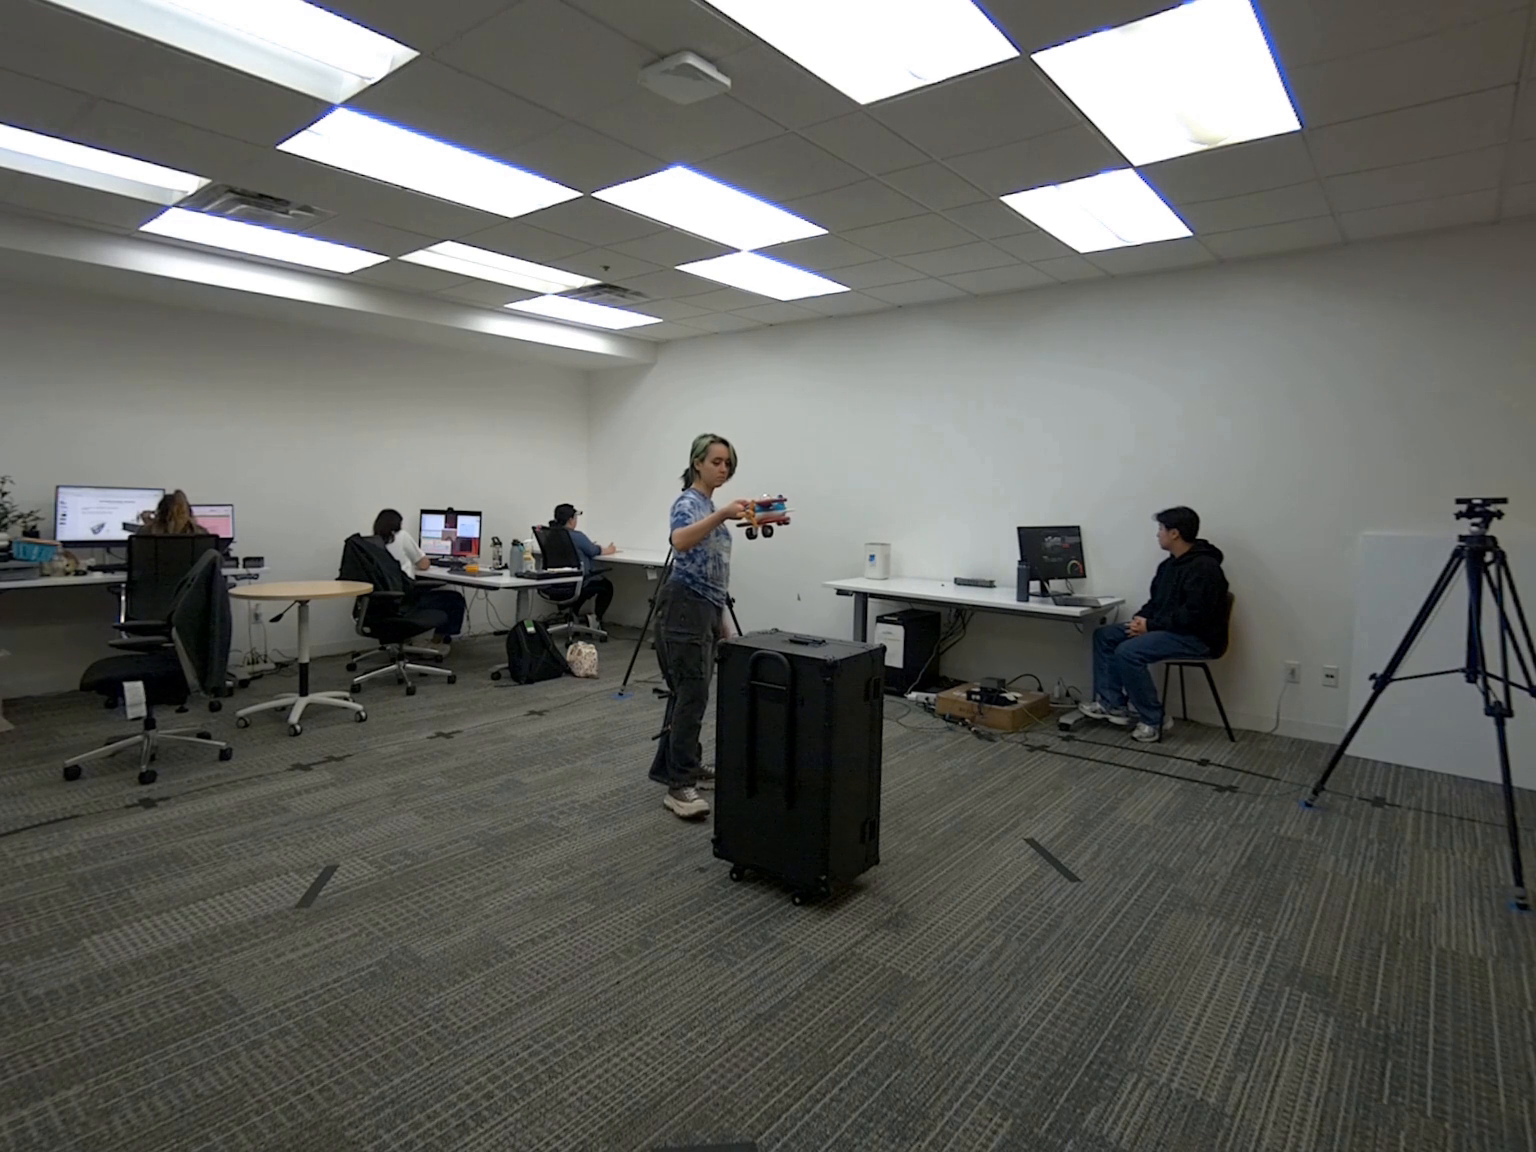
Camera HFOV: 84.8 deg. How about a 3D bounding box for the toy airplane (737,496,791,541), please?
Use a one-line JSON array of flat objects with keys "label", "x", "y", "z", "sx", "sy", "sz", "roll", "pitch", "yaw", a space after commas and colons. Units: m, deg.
[{"label": "toy airplane", "x": -0.027, "y": -0.259, "z": 3.592, "sx": 0.254, "sy": 0.154, "sz": 0.260, "roll": -14, "pitch": 13, "yaw": 13}]
